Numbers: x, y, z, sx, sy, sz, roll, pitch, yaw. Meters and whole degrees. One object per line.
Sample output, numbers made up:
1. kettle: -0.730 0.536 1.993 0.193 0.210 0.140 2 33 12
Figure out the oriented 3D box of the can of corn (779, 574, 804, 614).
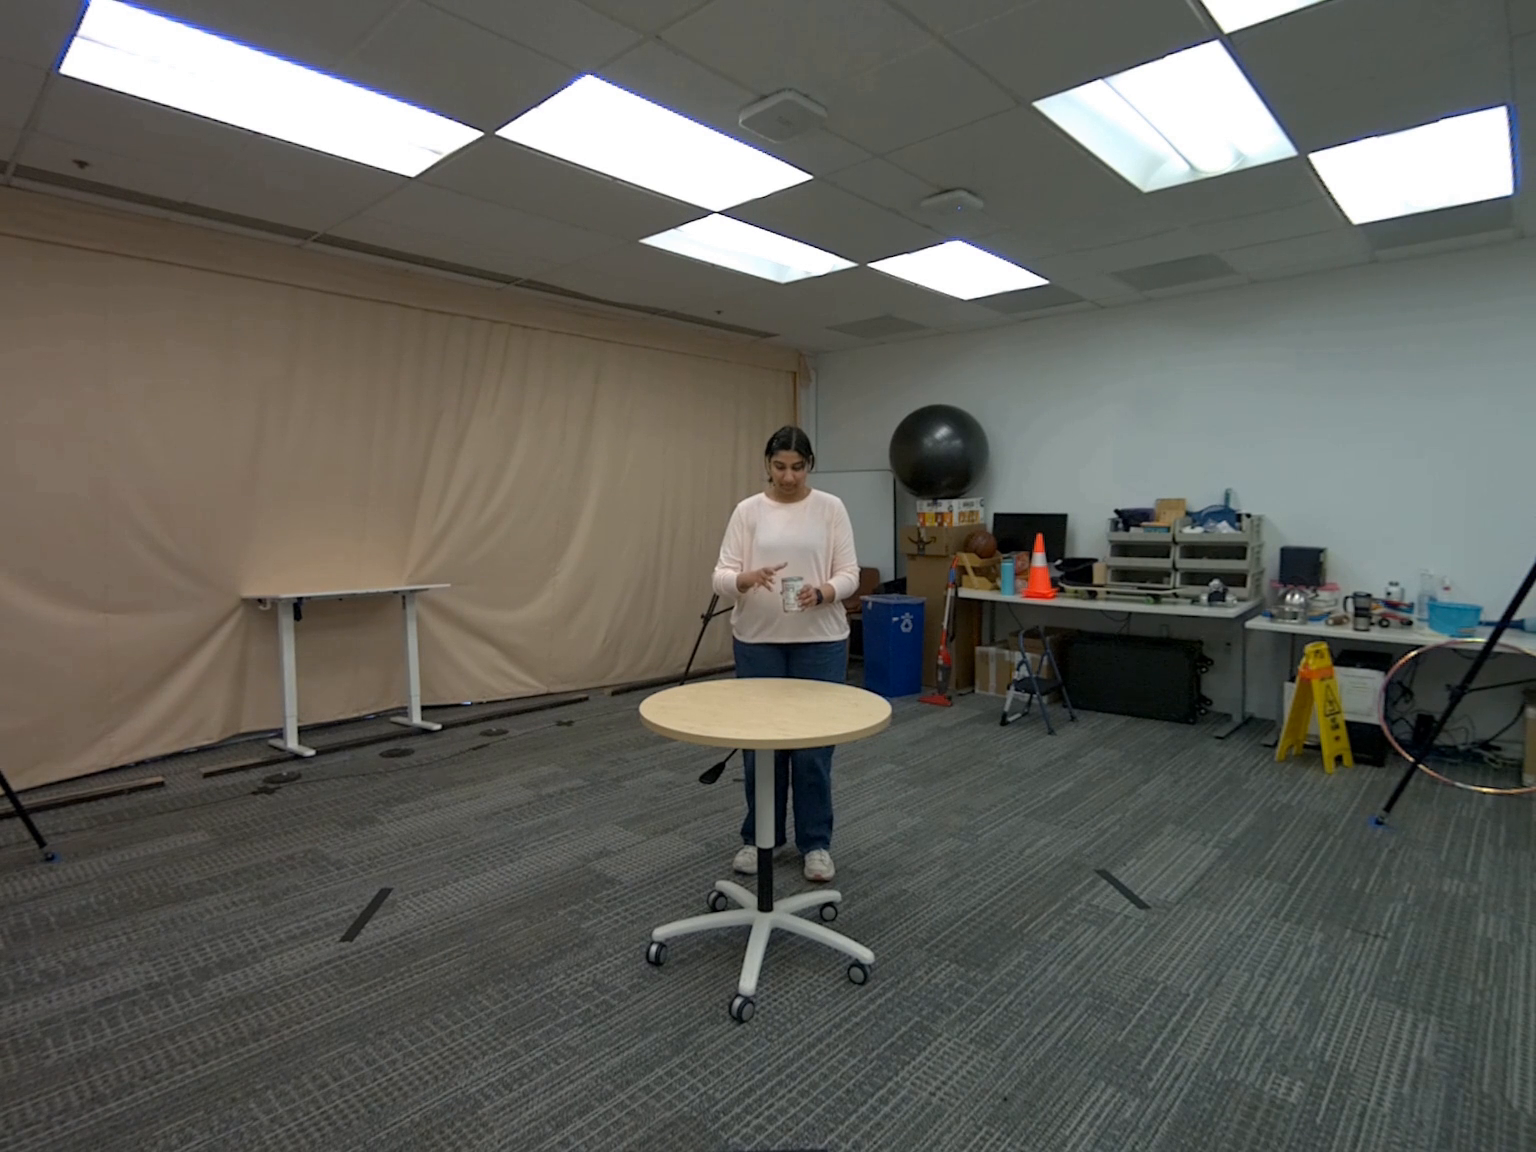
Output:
1. can of corn: 0.092 0.066 2.893 0.074 0.110 0.074 -1 6 -2
